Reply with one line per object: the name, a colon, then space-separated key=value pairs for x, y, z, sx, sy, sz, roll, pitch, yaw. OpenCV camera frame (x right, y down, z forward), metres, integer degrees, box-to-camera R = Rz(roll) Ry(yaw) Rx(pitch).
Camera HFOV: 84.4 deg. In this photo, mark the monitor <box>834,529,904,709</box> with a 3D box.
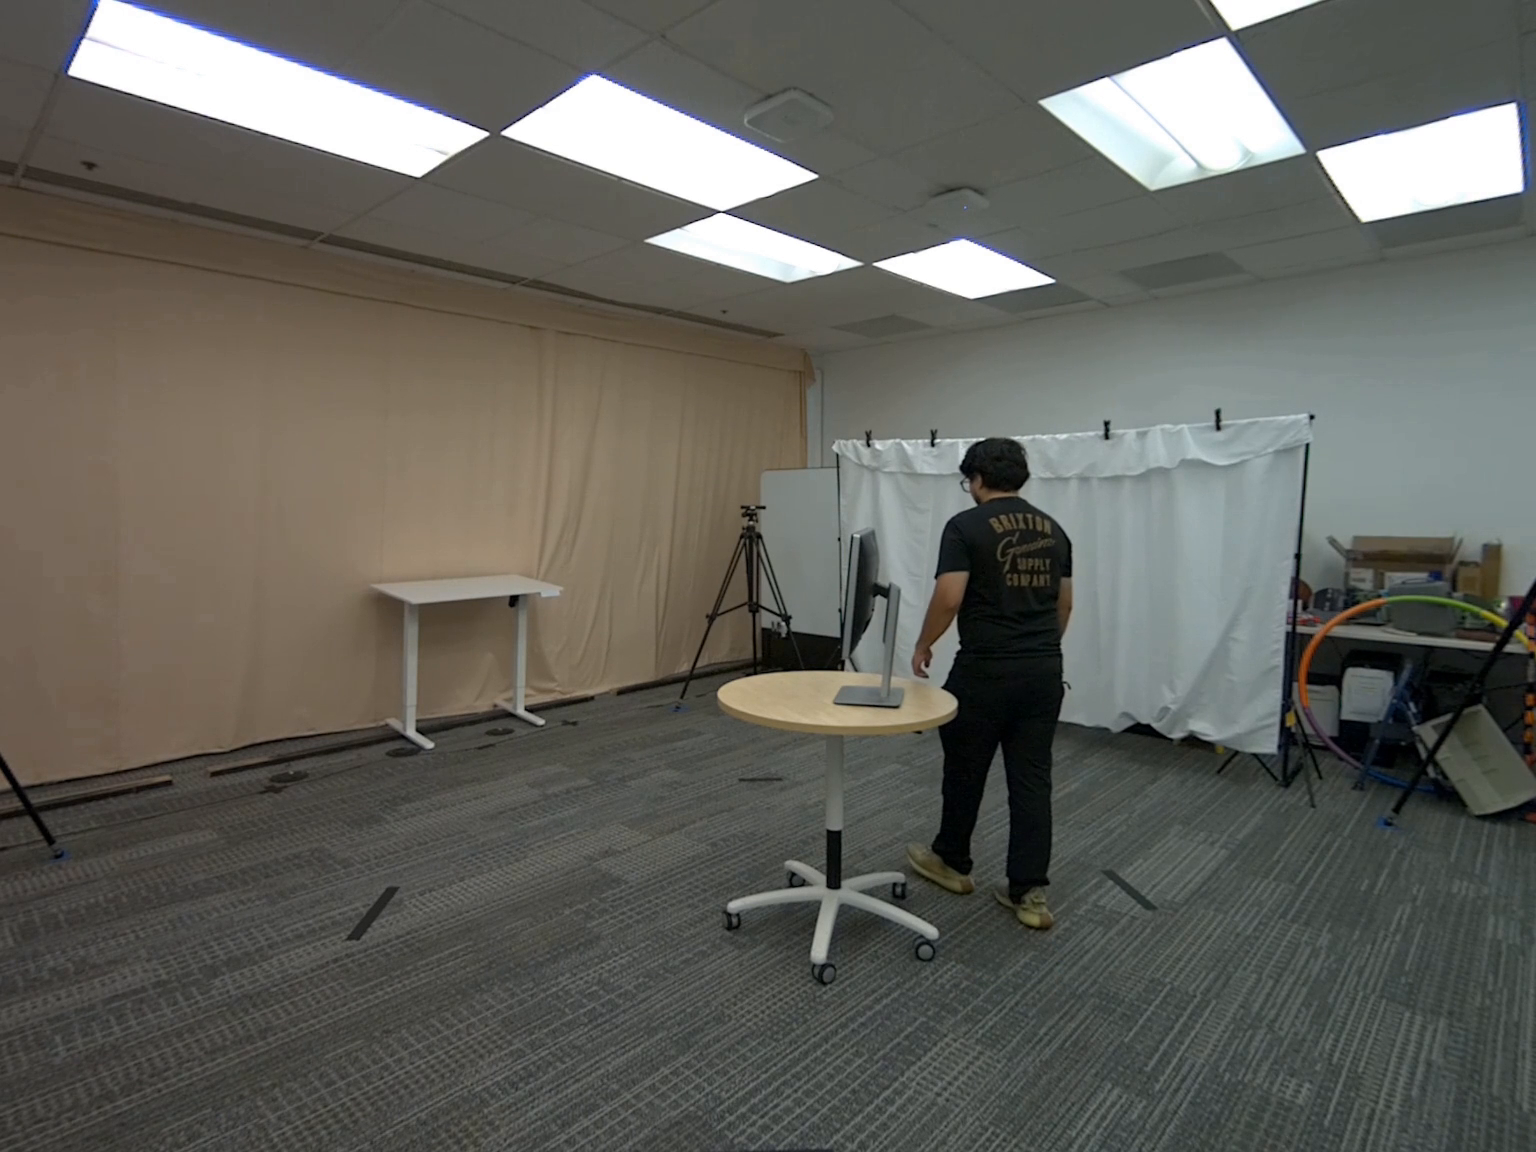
monitor: x=0.355 y=0.133 z=2.663 sx=0.213 sy=0.552 sz=0.558 roll=4 pitch=5 yaw=12
